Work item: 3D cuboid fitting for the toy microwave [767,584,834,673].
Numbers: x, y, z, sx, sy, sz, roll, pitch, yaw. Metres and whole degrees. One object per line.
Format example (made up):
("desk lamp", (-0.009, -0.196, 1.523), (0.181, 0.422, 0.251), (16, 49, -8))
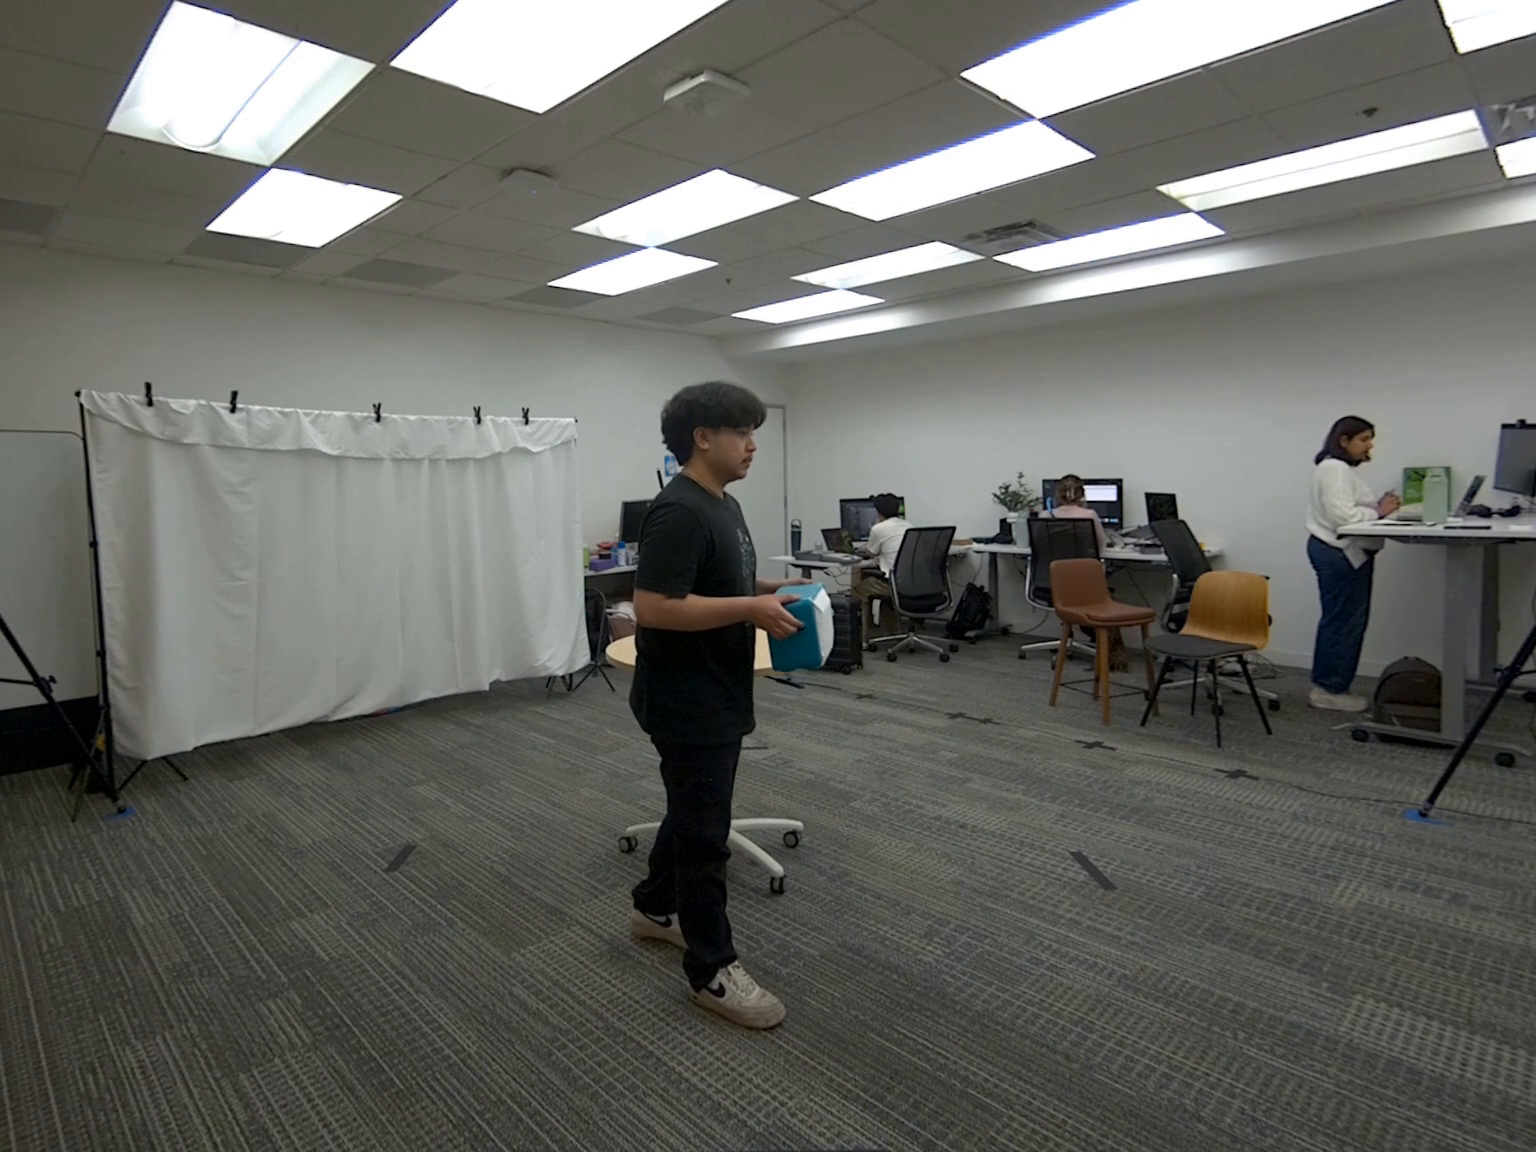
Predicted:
("toy microwave", (0.095, 0.129, 2.261), (0.154, 0.183, 0.285), (-8, 6, 11))
